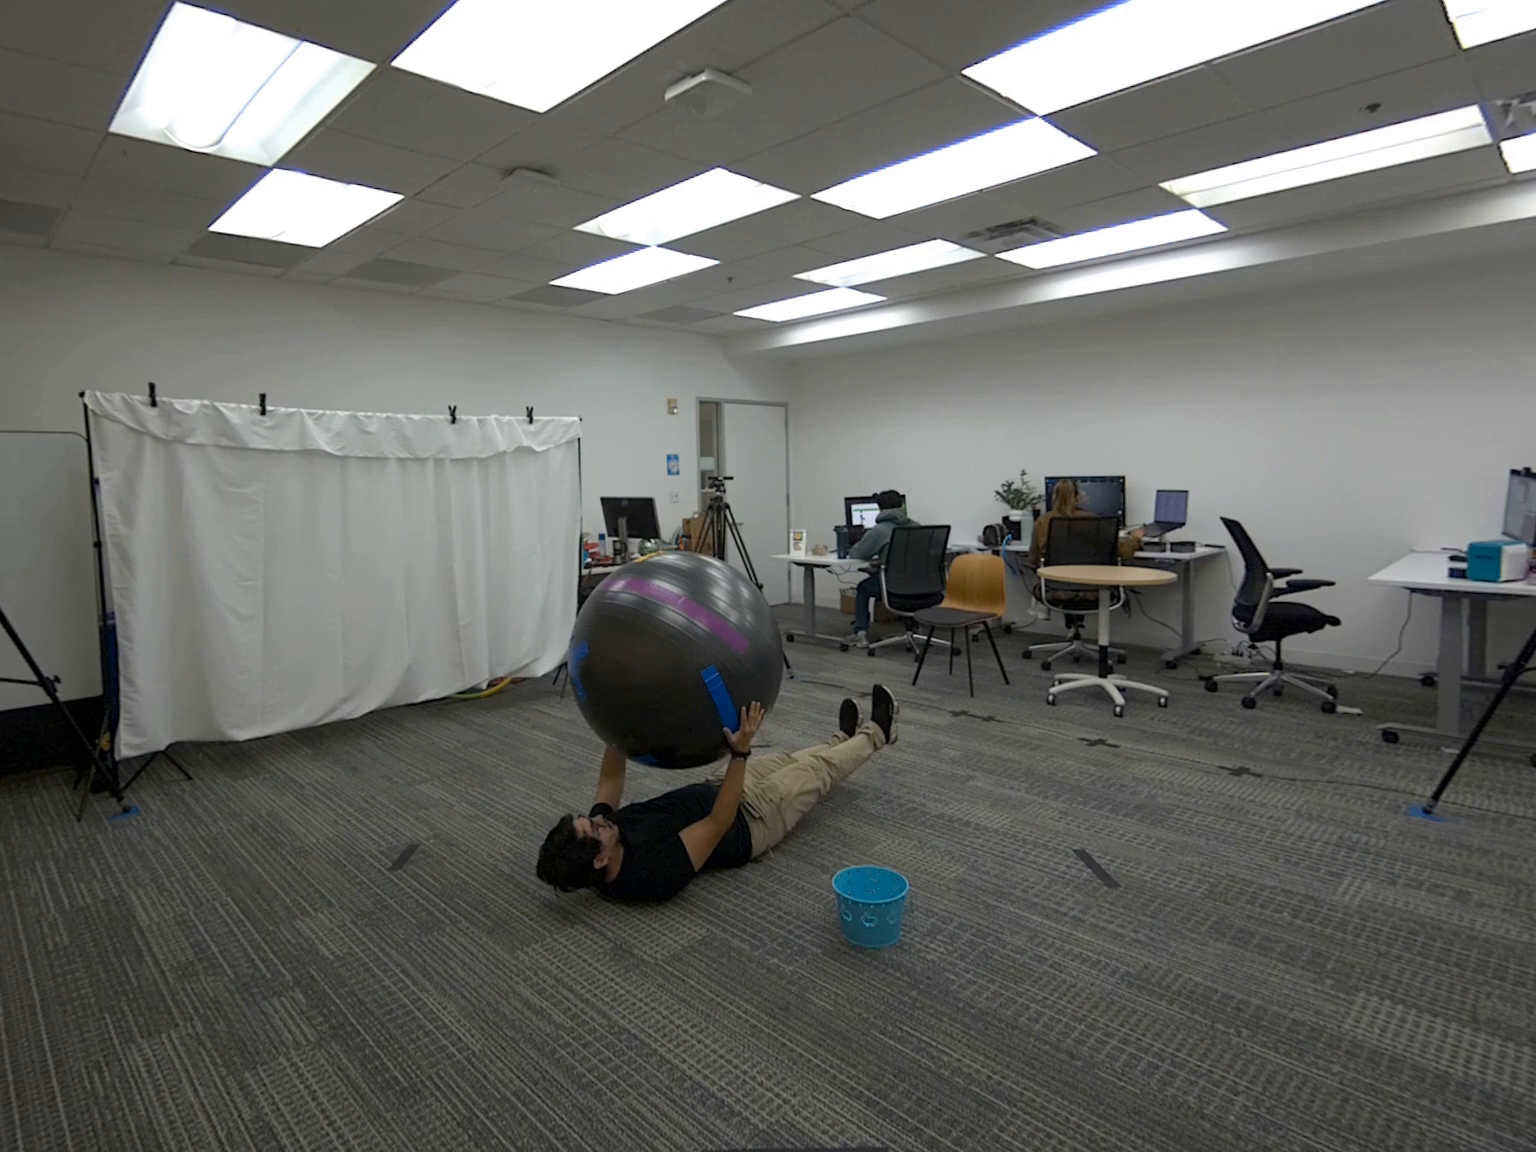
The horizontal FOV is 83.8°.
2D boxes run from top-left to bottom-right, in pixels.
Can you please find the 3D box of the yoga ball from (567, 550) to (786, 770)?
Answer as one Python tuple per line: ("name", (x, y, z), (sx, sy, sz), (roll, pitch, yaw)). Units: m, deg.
("yoga ball", (-0.325, 0.298, 3.020), (0.757, 0.755, 0.761), (-1, 4, -2))
